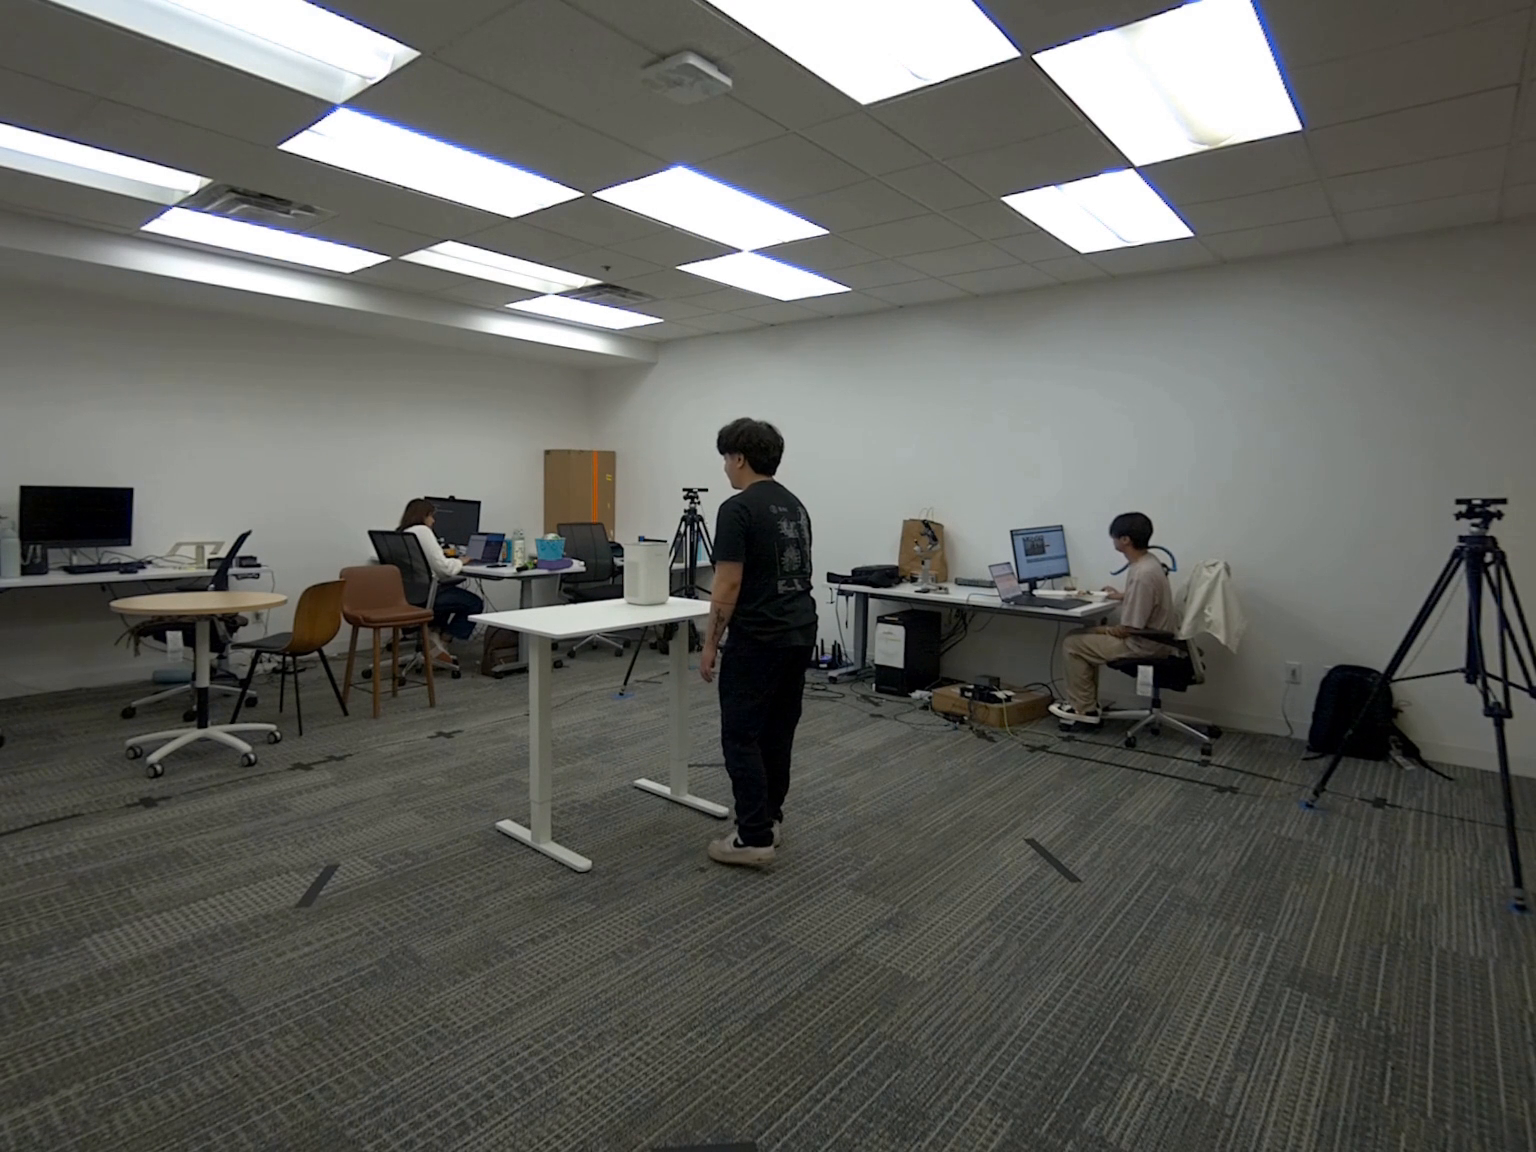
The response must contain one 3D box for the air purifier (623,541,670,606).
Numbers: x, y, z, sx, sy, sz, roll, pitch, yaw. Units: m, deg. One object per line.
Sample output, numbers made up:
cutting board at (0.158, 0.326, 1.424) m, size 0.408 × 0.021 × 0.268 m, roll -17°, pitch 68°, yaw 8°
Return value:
air purifier at (-0.549, -0.017, 3.749) m, size 0.177 × 0.265 × 0.166 m, roll 1°, pitch 3°, yaw 43°
